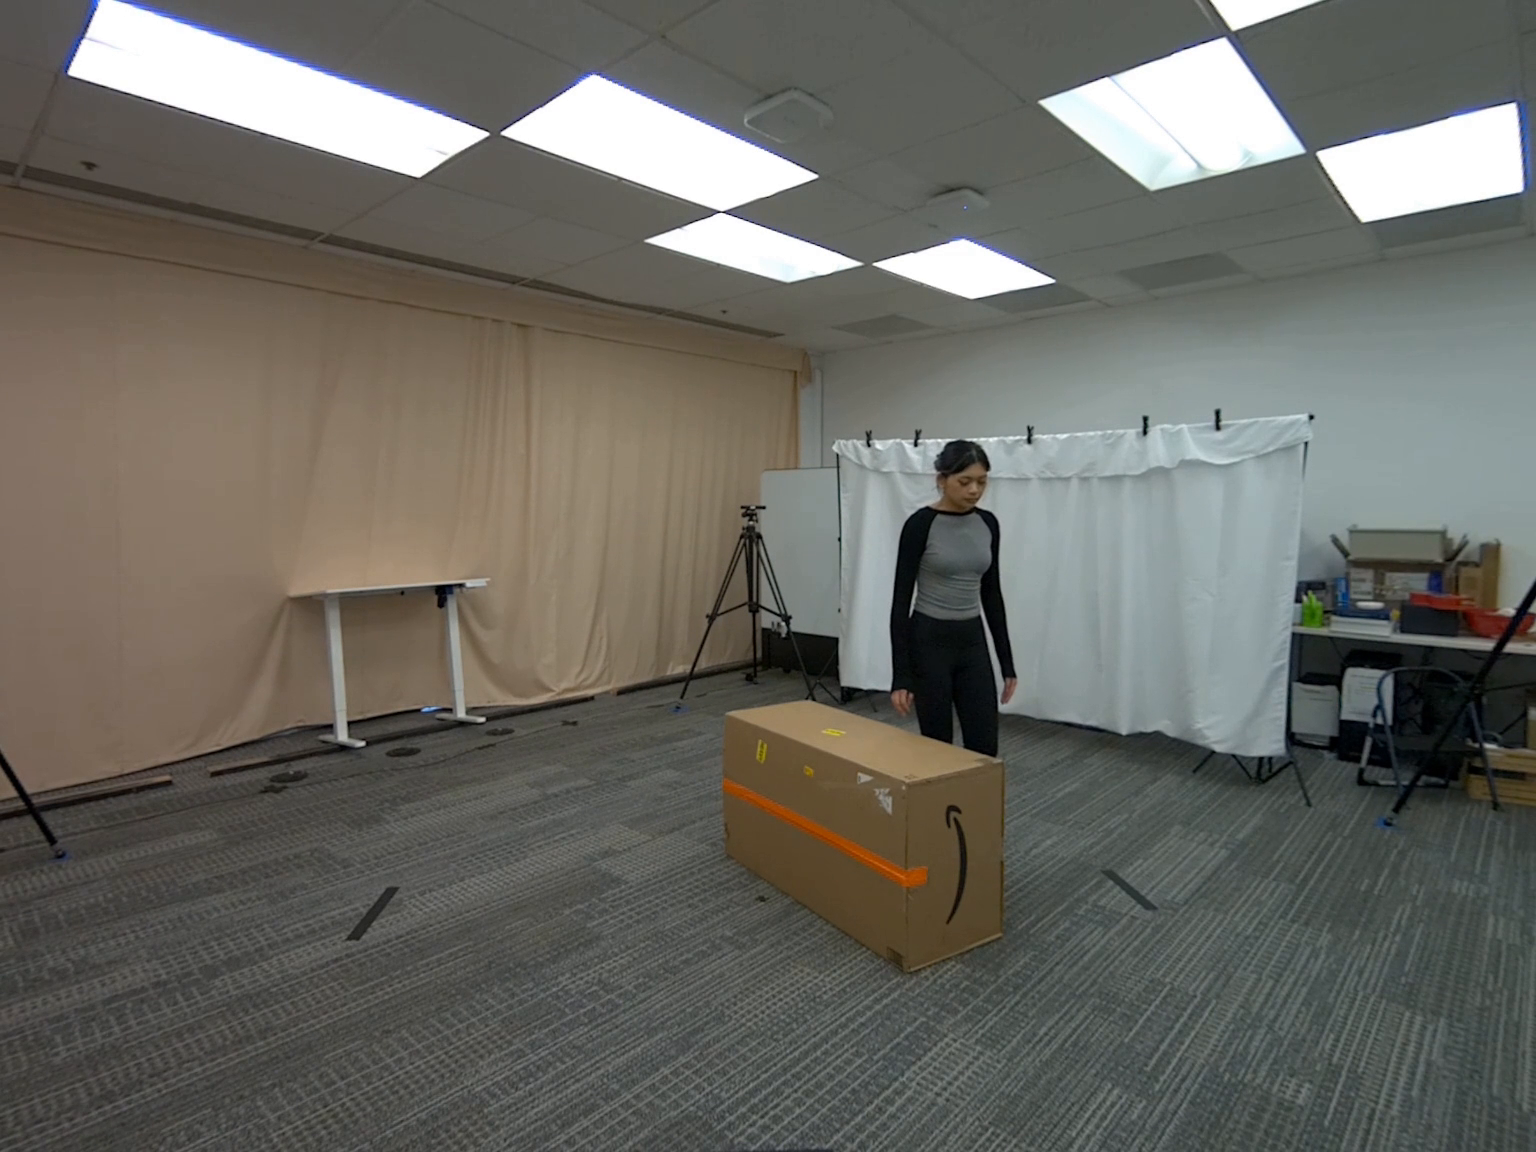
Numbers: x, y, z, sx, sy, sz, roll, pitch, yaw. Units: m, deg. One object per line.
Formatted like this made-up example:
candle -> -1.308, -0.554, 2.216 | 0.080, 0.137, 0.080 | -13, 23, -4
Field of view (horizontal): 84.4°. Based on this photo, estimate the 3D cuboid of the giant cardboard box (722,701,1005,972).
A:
giant cardboard box -> 0.291, 0.852, 3.023 | 0.414, 0.576, 1.057 | -2, 4, -33
